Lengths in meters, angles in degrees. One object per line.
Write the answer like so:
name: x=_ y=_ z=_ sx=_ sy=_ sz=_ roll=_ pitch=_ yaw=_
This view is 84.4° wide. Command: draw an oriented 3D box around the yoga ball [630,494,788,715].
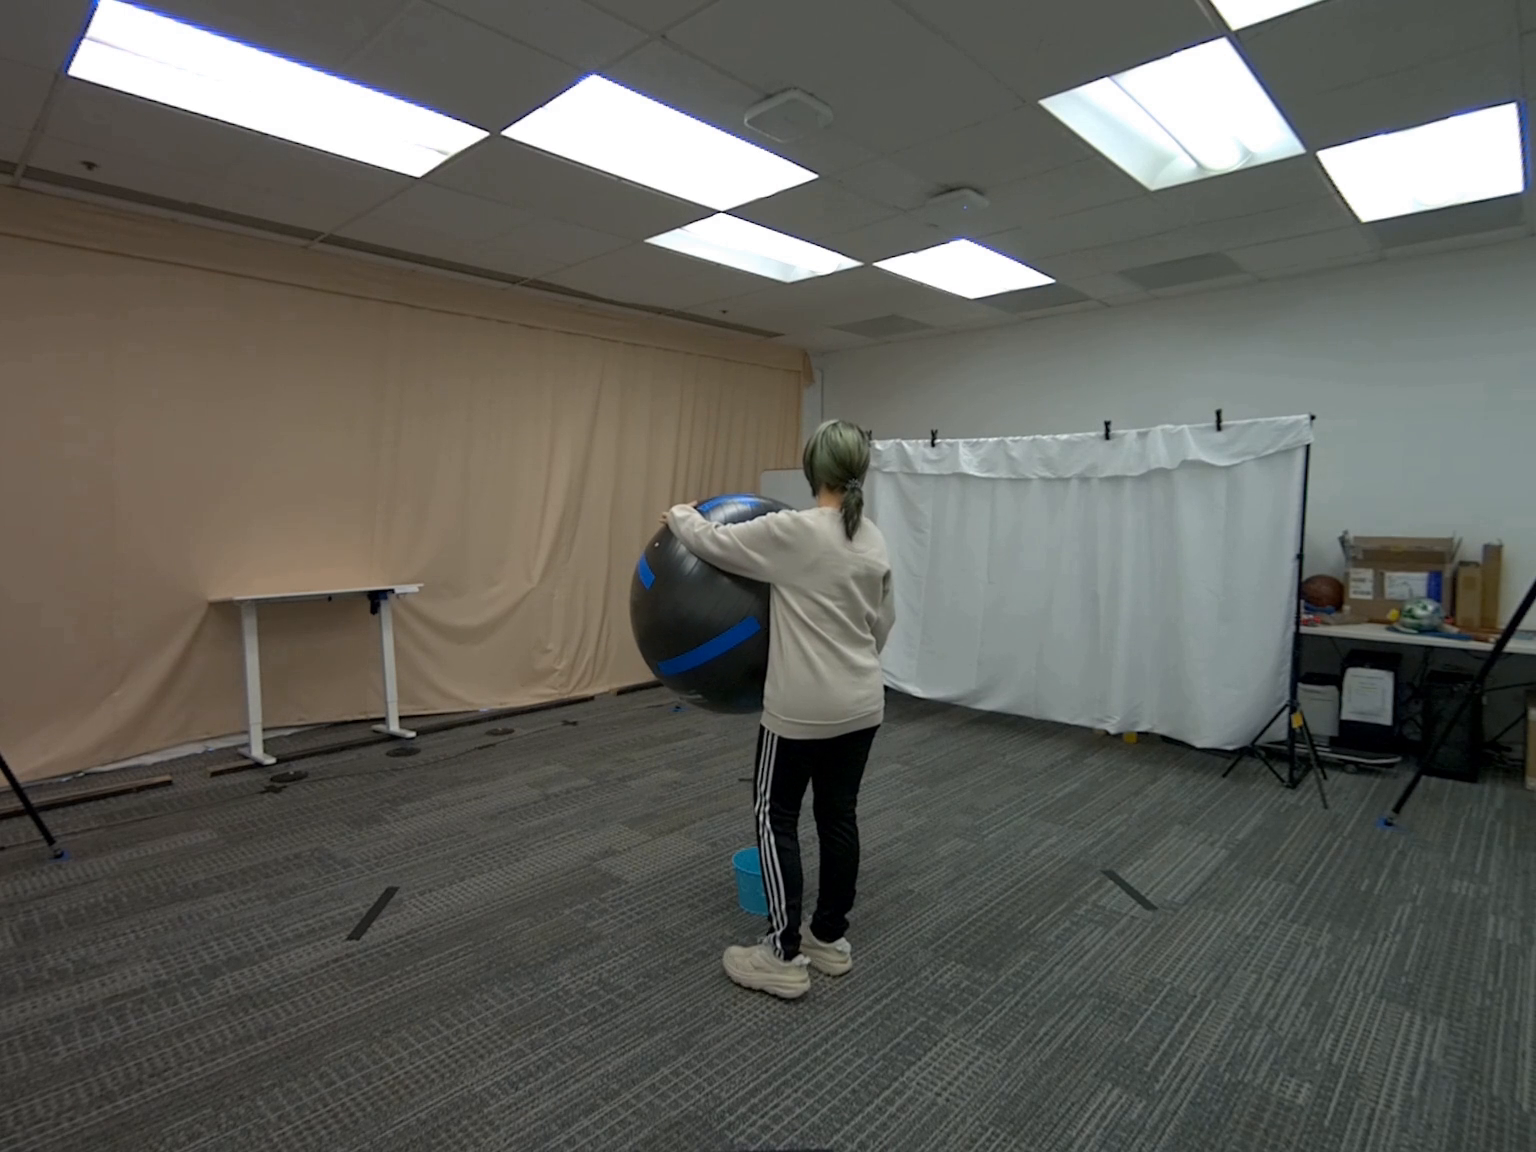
yoga ball: x=-0.103 y=0.103 z=2.928 sx=0.757 sy=0.756 sz=0.760 roll=0 pitch=4 yaw=-2
